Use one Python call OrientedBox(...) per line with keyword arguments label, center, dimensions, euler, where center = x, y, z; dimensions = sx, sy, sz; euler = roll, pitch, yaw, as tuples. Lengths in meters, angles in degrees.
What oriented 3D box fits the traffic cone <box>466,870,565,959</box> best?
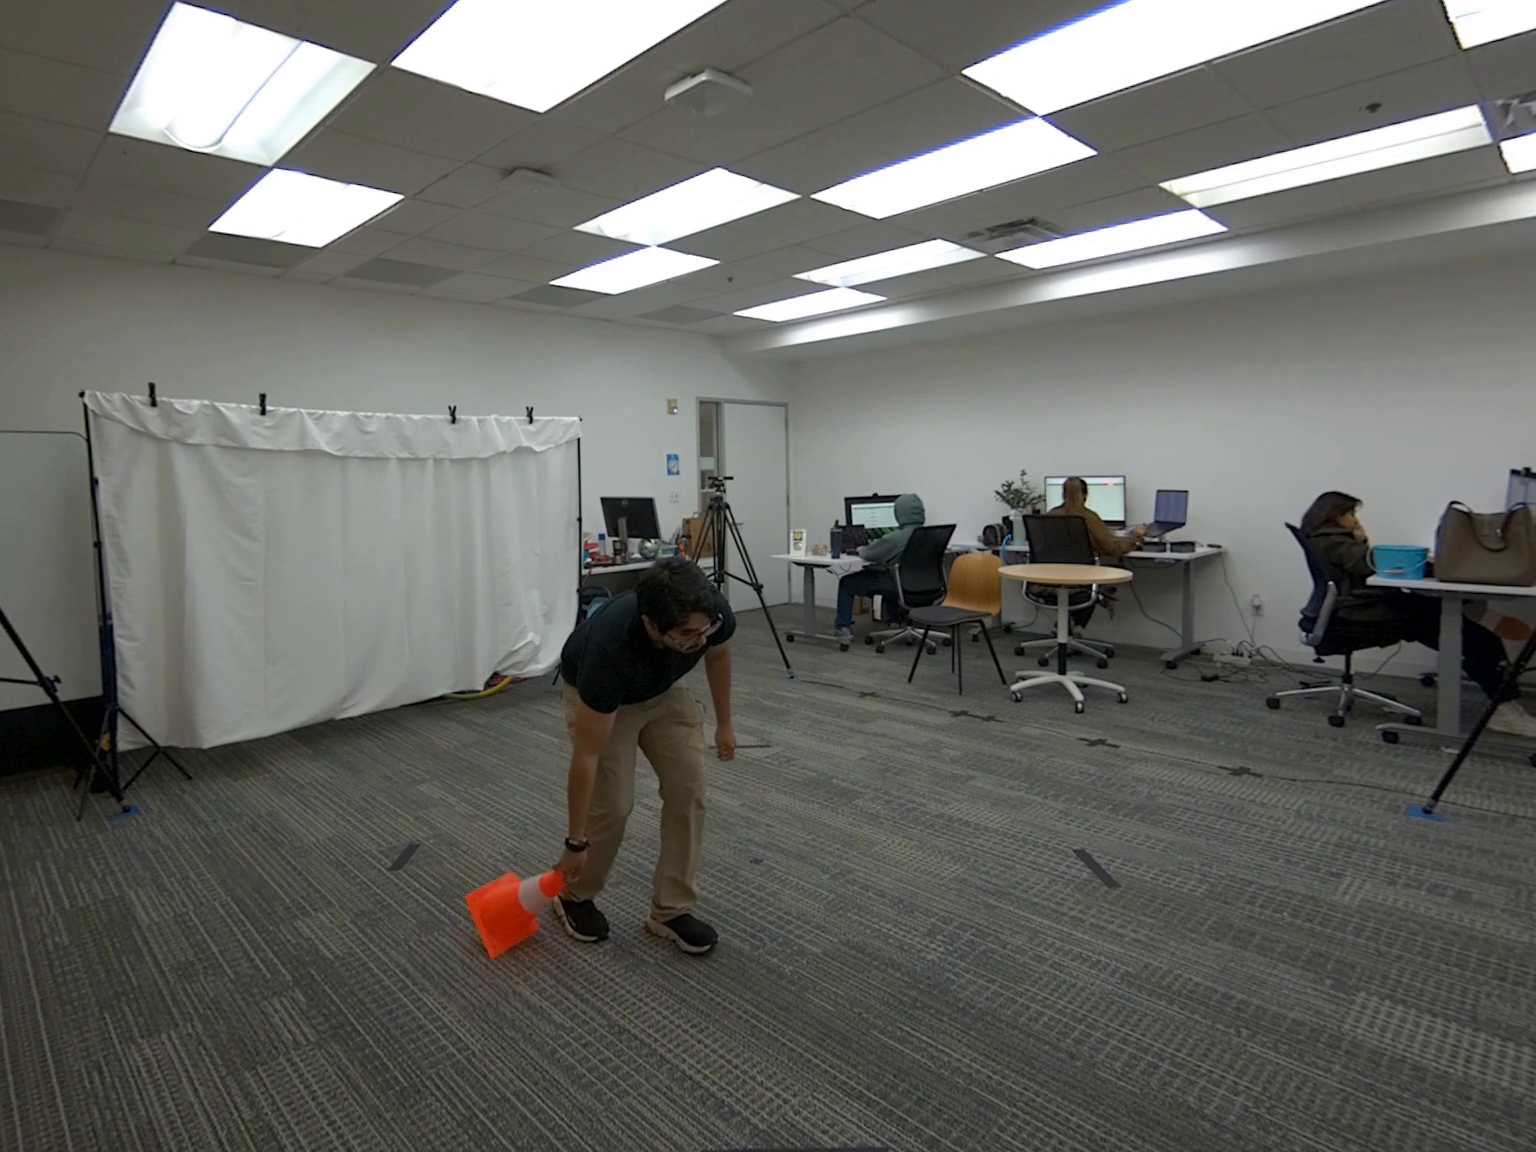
OrientedBox(label="traffic cone", center=(-0.676, 0.936, 2.516), dimensions=(0.385, 0.210, 0.197), euler=(-38, -25, 28))
